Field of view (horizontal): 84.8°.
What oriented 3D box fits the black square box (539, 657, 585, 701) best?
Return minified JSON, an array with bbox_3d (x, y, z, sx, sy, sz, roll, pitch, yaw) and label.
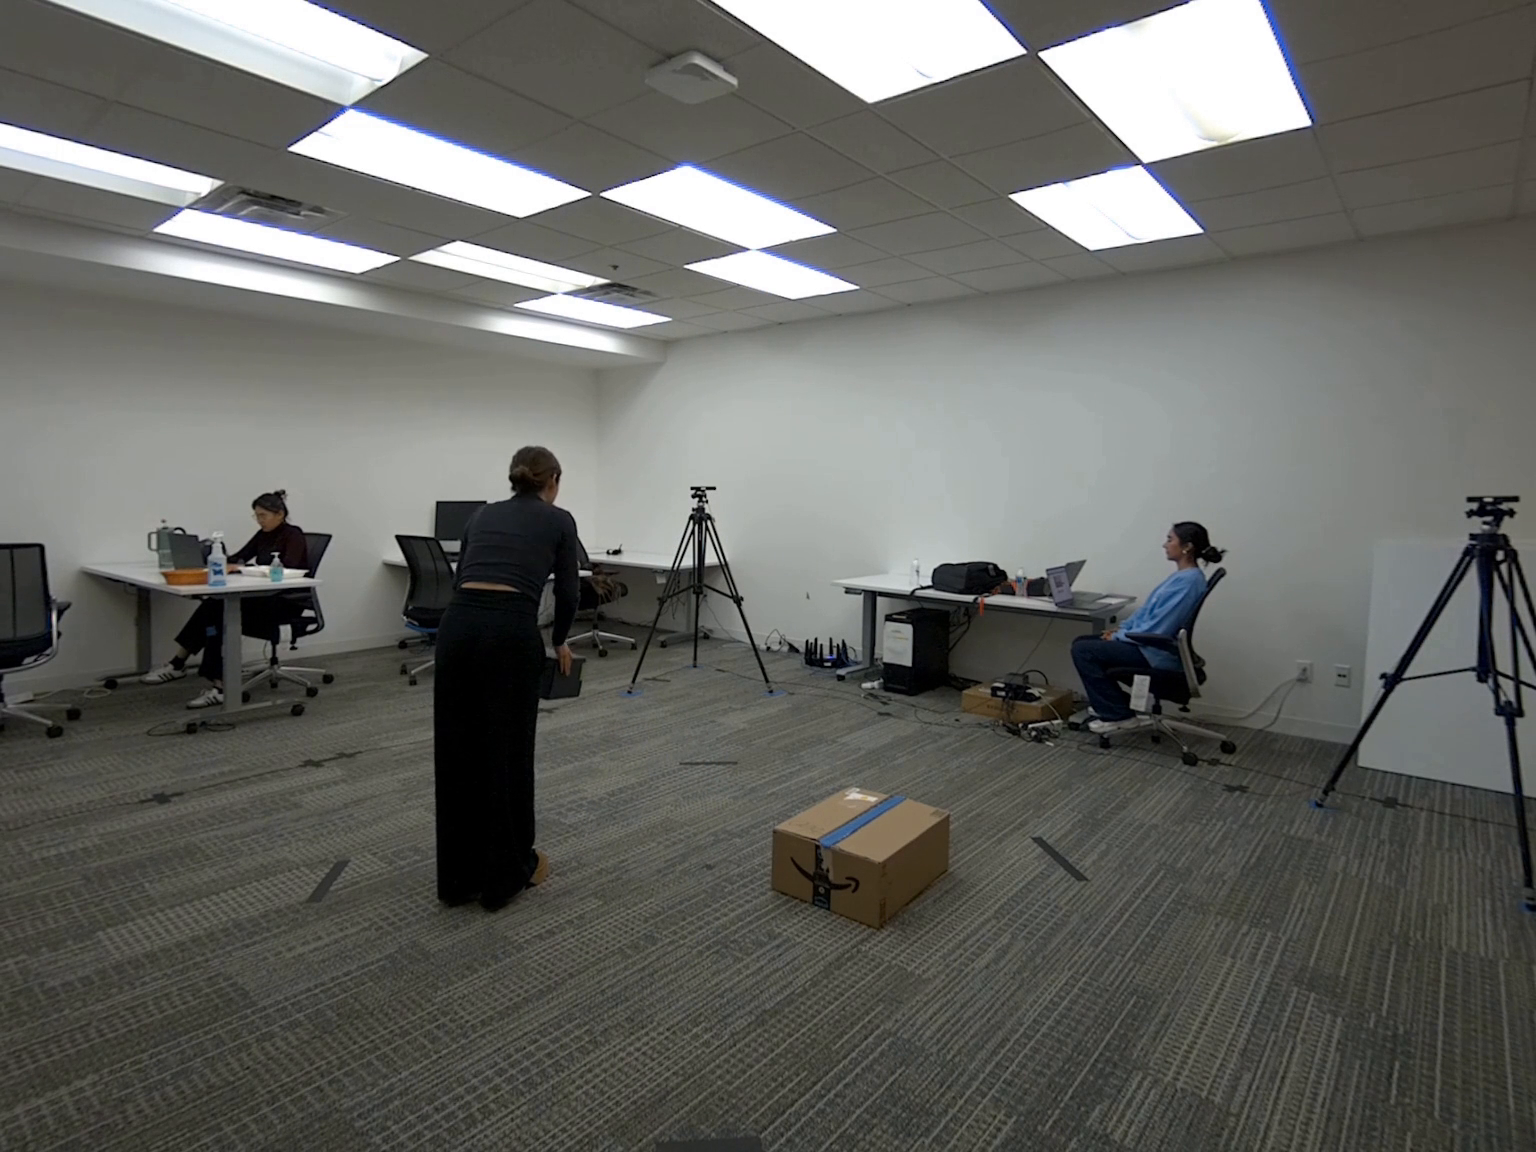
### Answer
[{"bbox_3d":[-0.860,0.369,3.244,0.233,0.156,0.211,9,-1,21],"label":"black square box"}]
